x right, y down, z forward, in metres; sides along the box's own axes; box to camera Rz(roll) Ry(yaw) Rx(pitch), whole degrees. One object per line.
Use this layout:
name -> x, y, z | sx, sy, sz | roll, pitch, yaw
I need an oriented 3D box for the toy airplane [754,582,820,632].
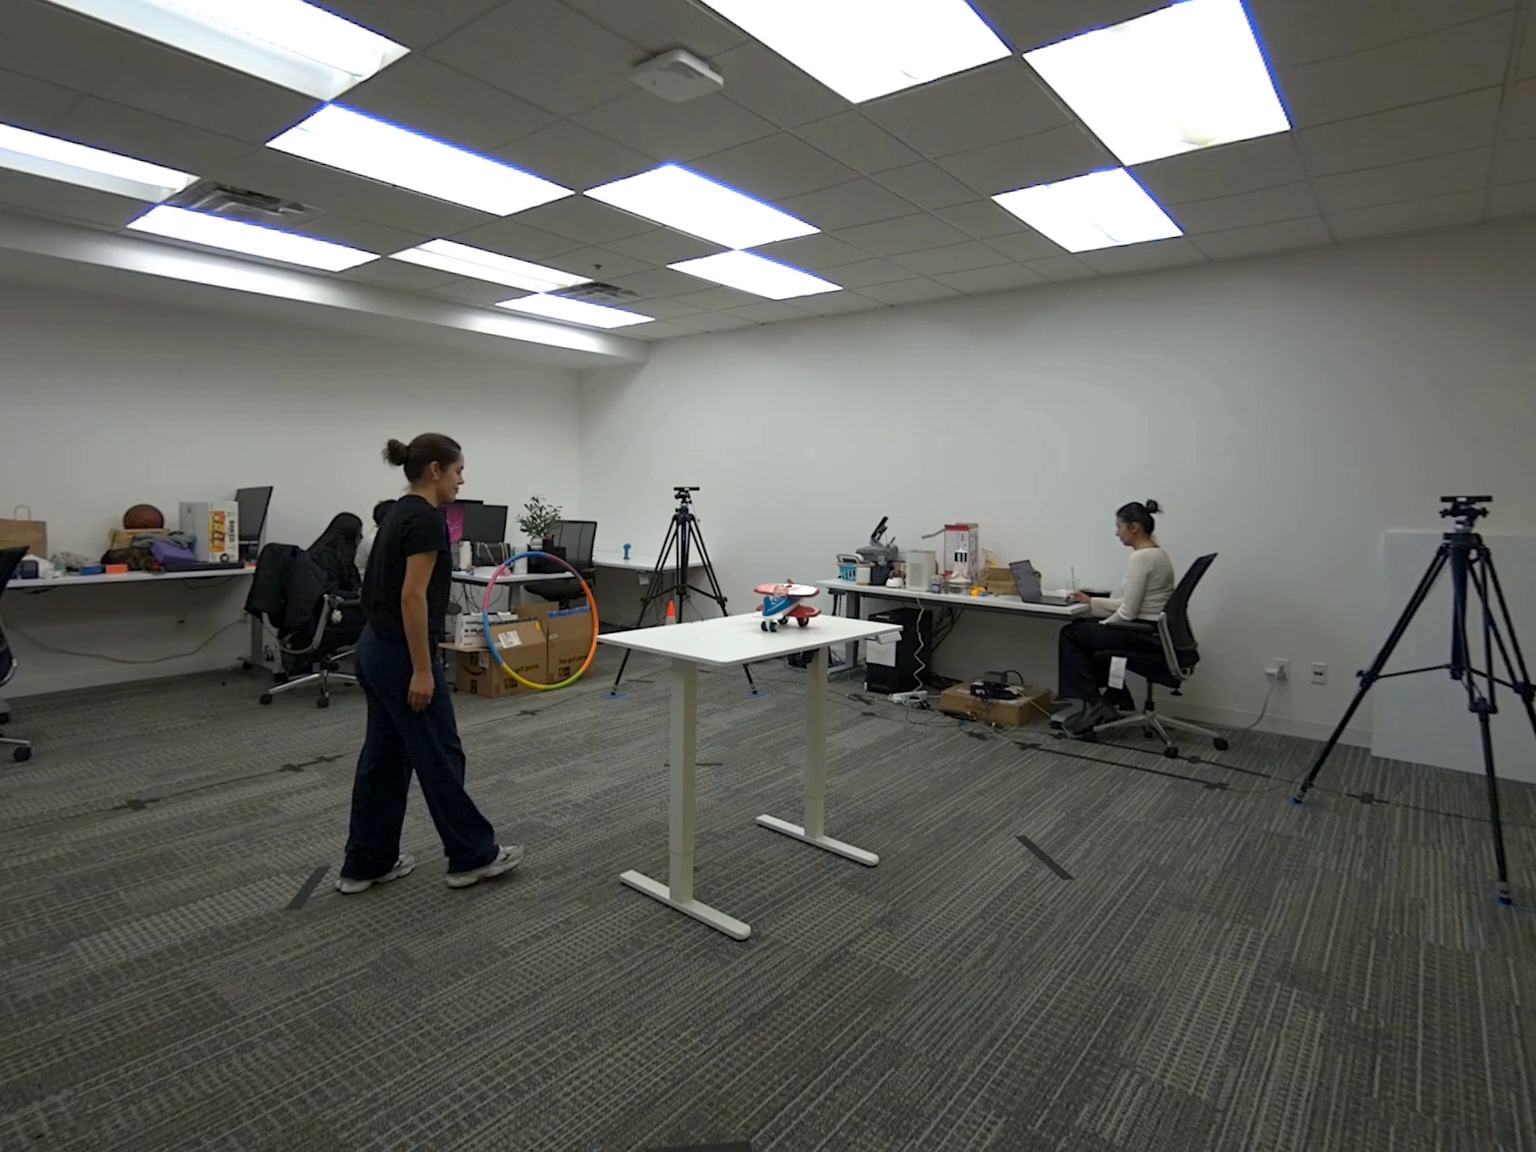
toy airplane -> 0.083, 0.113, 3.114 | 0.252, 0.156, 0.259 | 2, 5, 4
